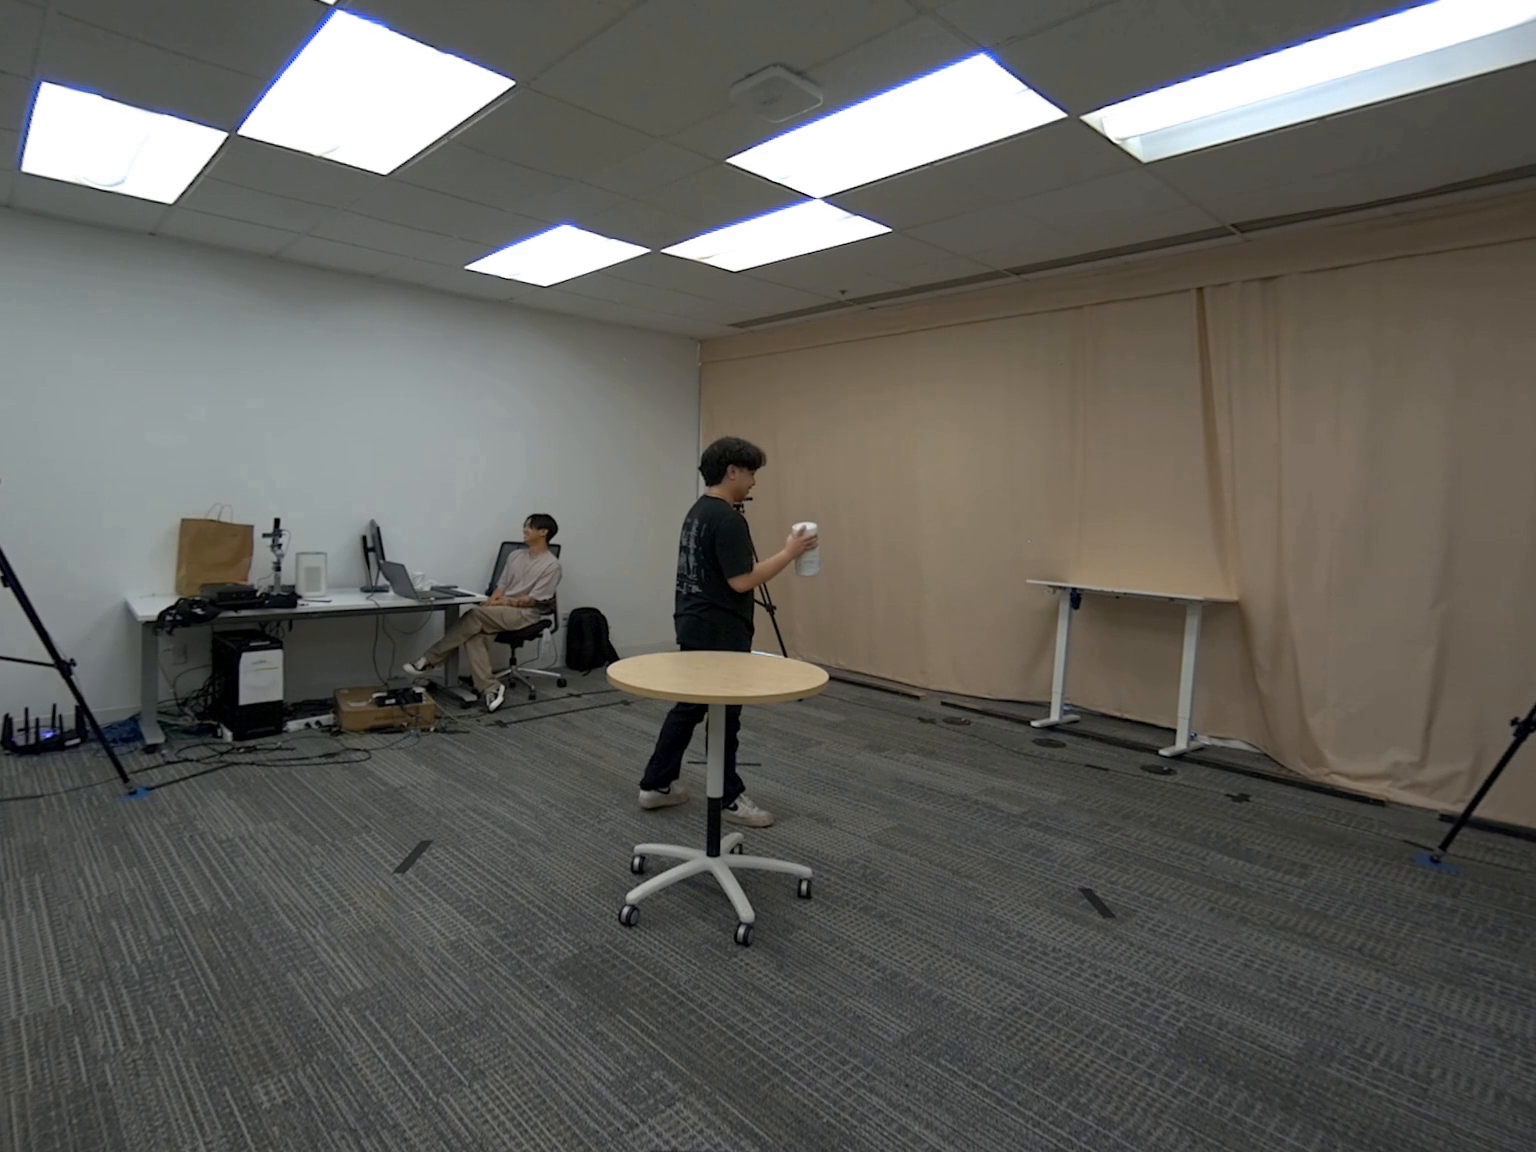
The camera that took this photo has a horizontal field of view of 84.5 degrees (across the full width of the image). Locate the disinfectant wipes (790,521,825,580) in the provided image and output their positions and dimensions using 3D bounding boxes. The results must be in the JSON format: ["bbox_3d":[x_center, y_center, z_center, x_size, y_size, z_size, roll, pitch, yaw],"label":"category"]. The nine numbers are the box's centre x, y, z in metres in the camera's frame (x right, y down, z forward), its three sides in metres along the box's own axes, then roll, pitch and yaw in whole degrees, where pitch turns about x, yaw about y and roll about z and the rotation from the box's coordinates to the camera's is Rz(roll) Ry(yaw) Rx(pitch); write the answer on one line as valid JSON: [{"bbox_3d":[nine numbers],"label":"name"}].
[{"bbox_3d":[0.165,-0.113,3.610,0.118,0.215,0.119,-6,12,0],"label":"disinfectant wipes"}]
